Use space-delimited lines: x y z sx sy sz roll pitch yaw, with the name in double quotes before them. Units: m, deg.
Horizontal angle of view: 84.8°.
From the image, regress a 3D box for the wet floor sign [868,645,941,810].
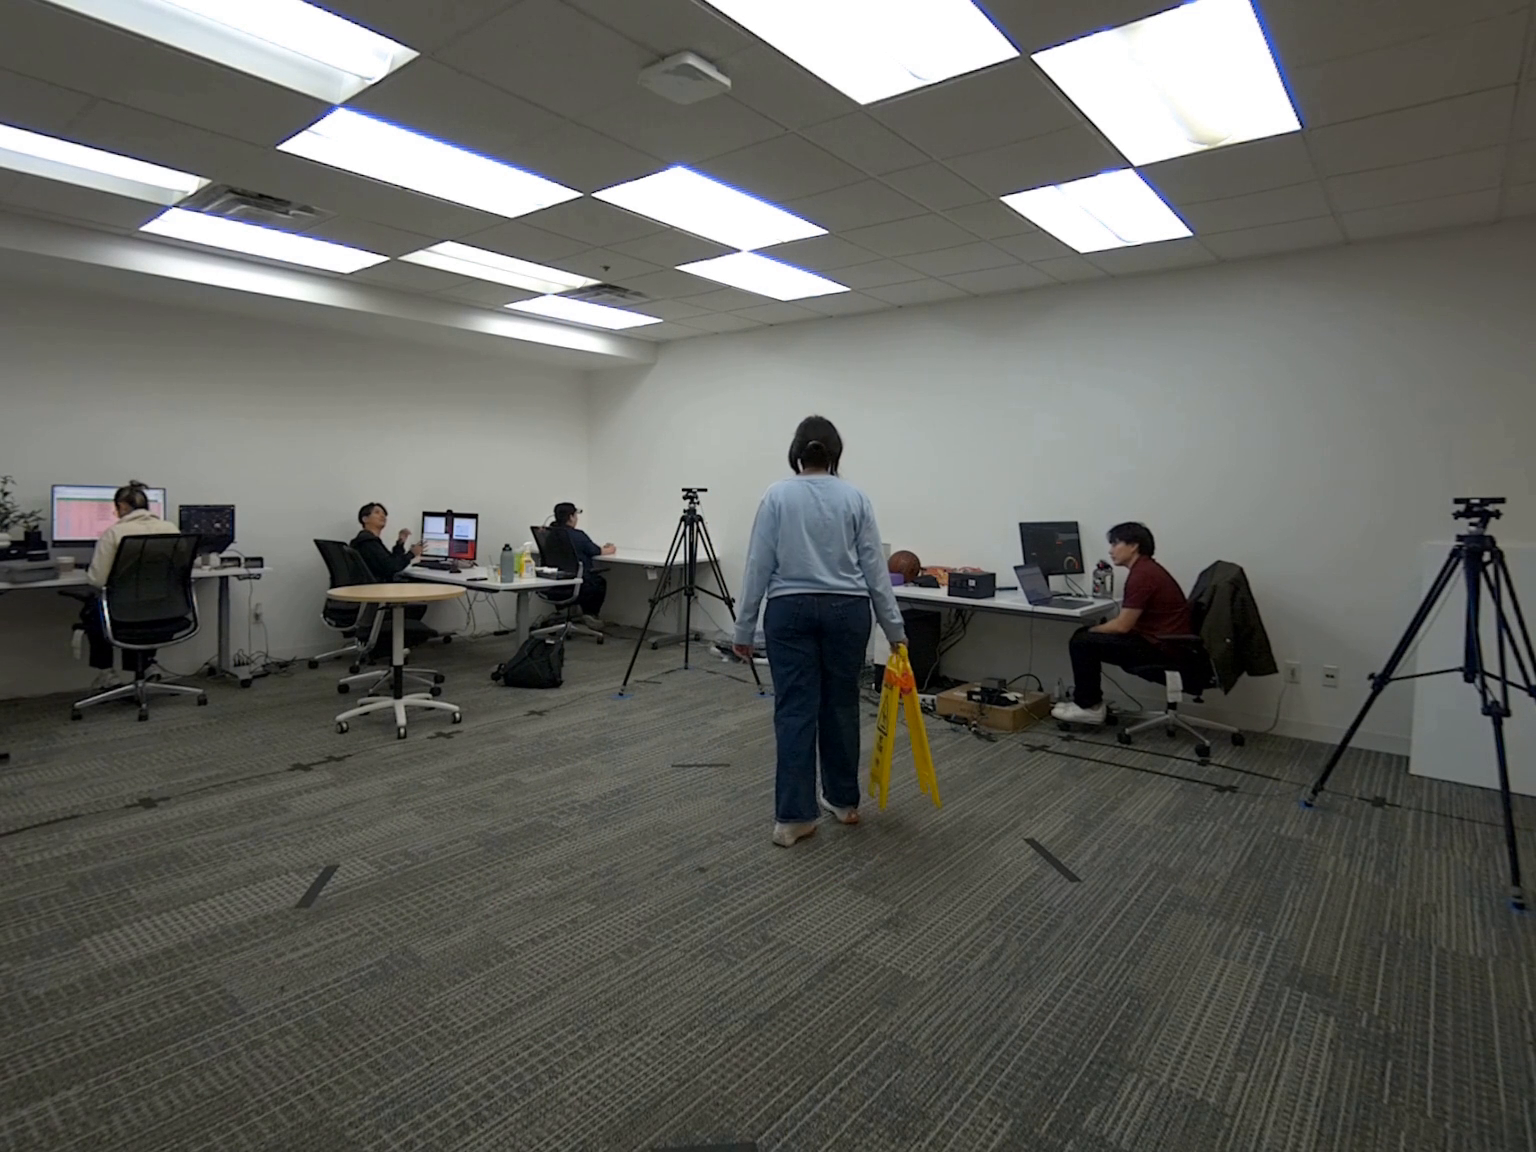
"wet floor sign" 0.541 0.603 3.539 0.289 0.647 0.282 -1 -2 -3
